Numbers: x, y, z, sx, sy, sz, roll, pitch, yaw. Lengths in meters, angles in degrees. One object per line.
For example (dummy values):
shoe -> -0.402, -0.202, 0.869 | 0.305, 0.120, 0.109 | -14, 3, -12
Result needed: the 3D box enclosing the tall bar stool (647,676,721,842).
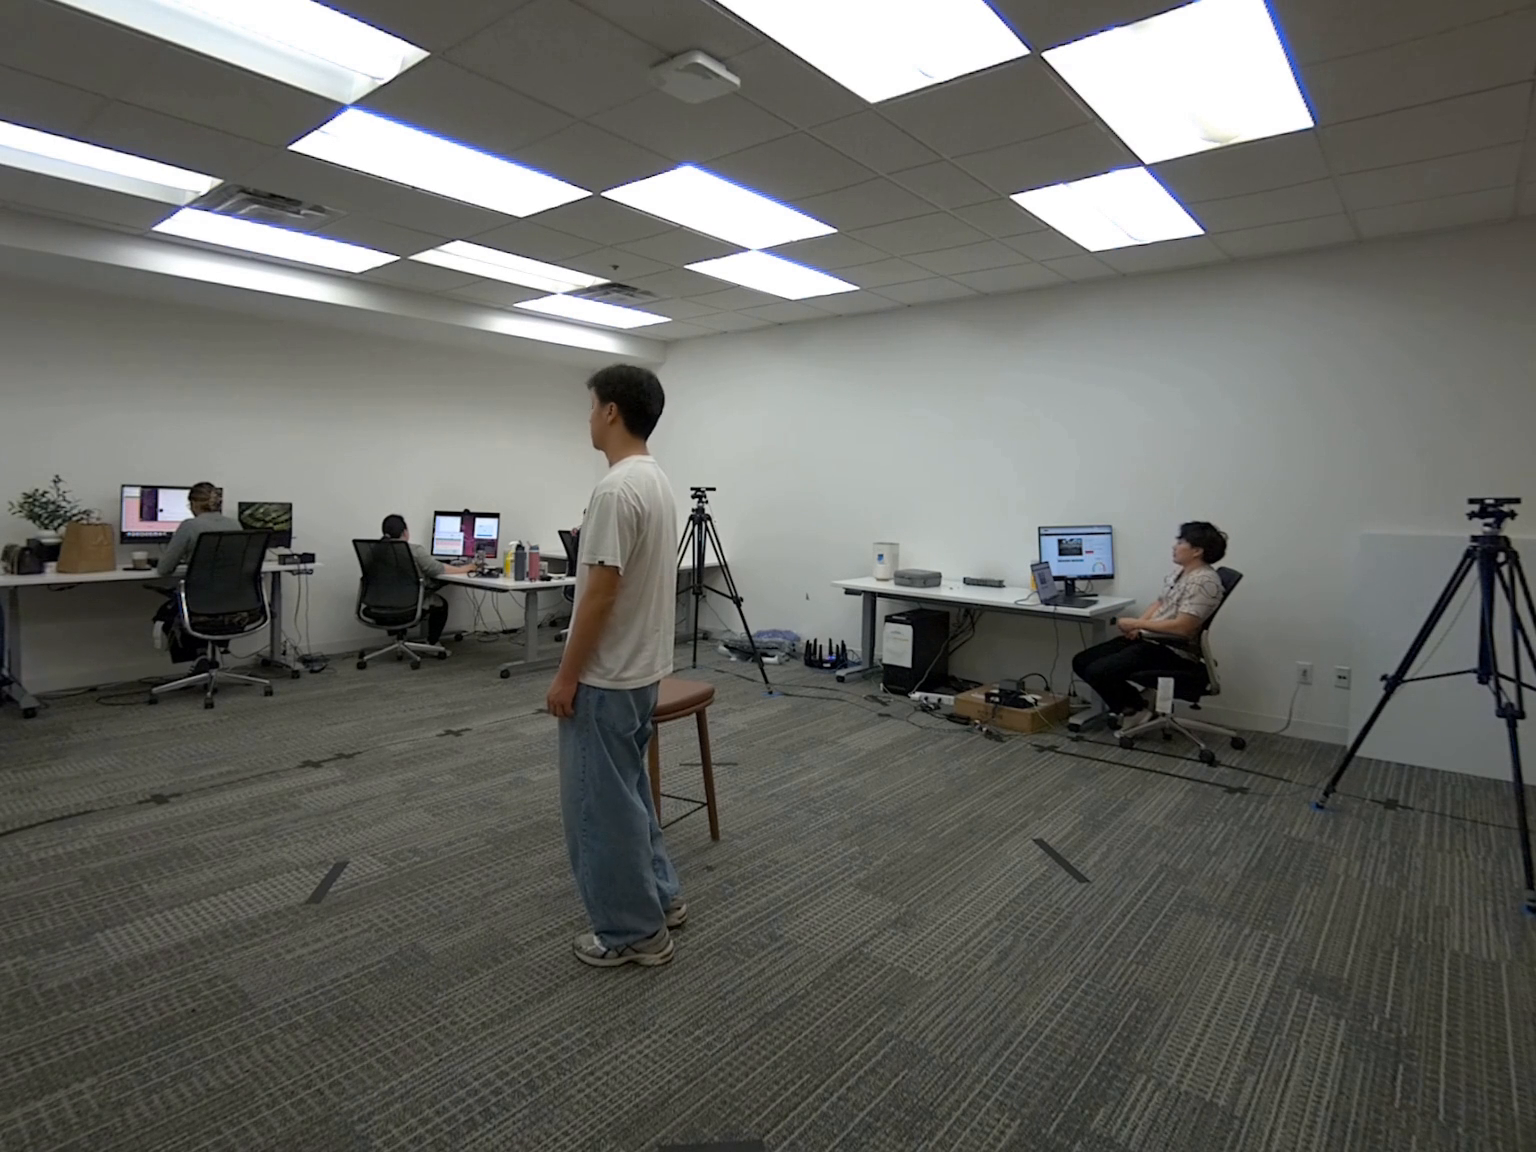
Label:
tall bar stool -> -0.487, 0.605, 3.306 | 0.481, 0.889, 0.444 | 0, 2, 32
